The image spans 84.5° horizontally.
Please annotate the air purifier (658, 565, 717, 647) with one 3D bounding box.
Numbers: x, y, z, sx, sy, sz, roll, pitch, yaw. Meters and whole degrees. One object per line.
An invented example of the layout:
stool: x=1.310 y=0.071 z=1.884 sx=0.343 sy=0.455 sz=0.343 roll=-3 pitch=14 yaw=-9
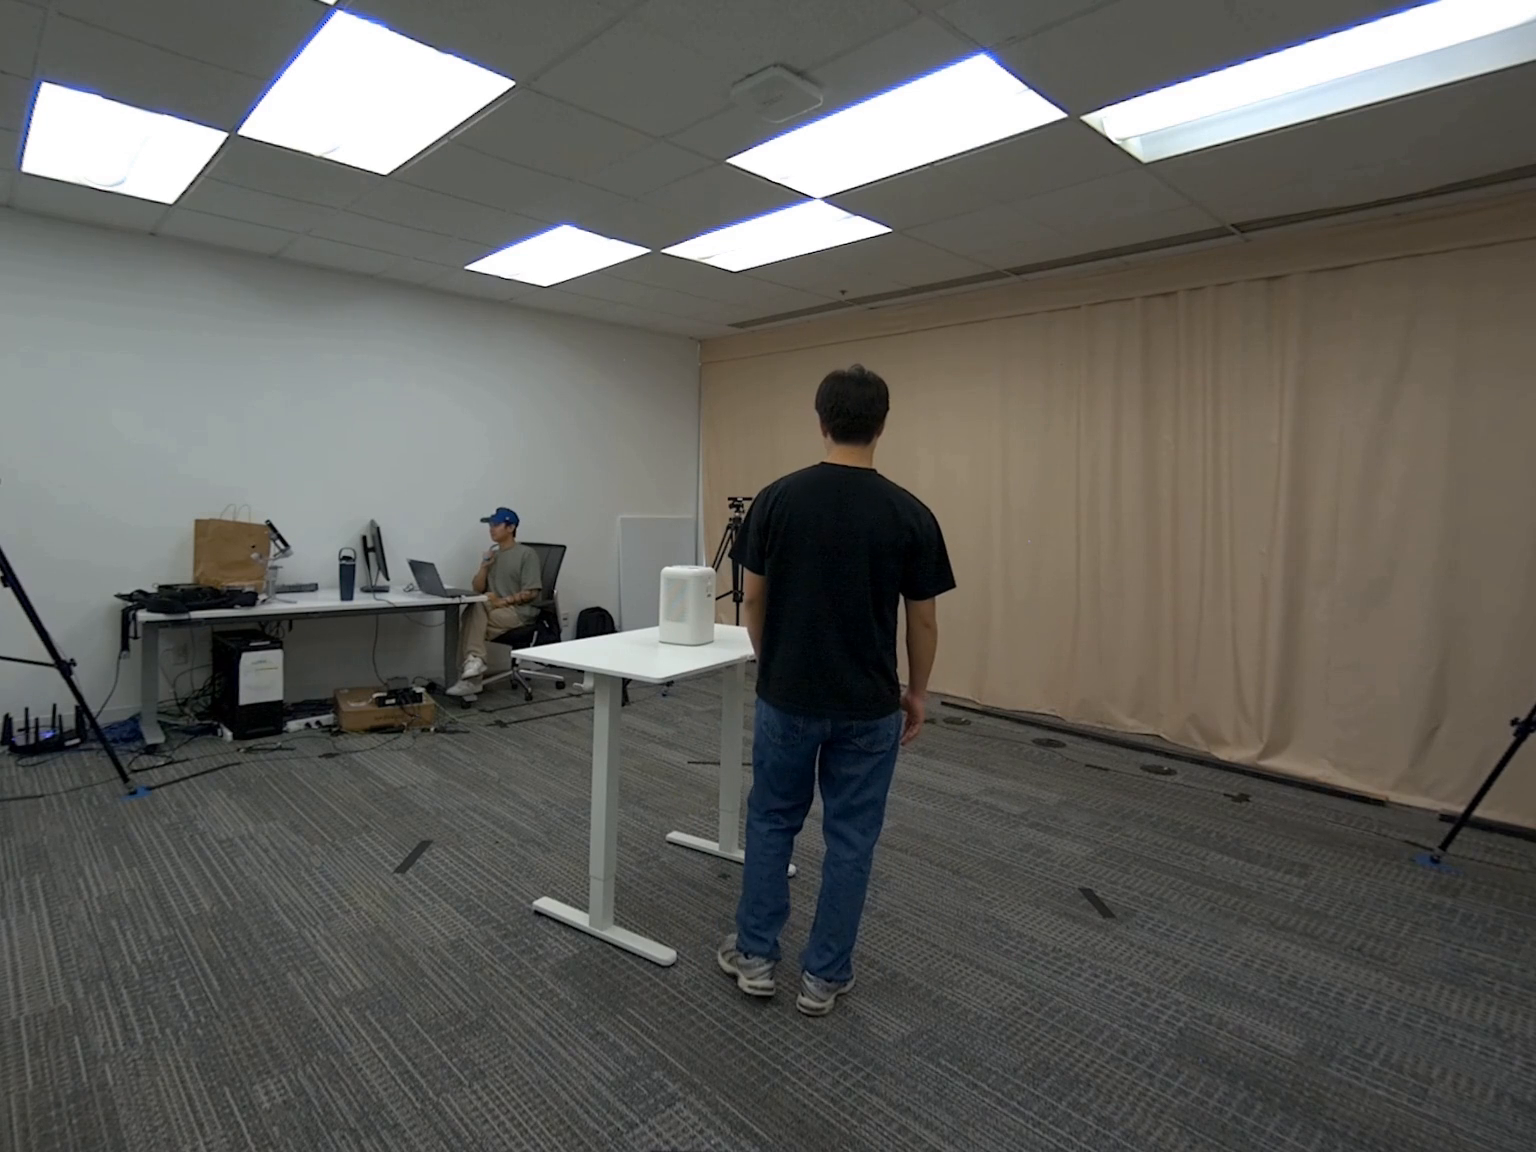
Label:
air purifier: x=-0.290 y=0.102 z=2.972 sx=0.175 sy=0.265 sz=0.168 roll=4 pitch=4 yaw=26
